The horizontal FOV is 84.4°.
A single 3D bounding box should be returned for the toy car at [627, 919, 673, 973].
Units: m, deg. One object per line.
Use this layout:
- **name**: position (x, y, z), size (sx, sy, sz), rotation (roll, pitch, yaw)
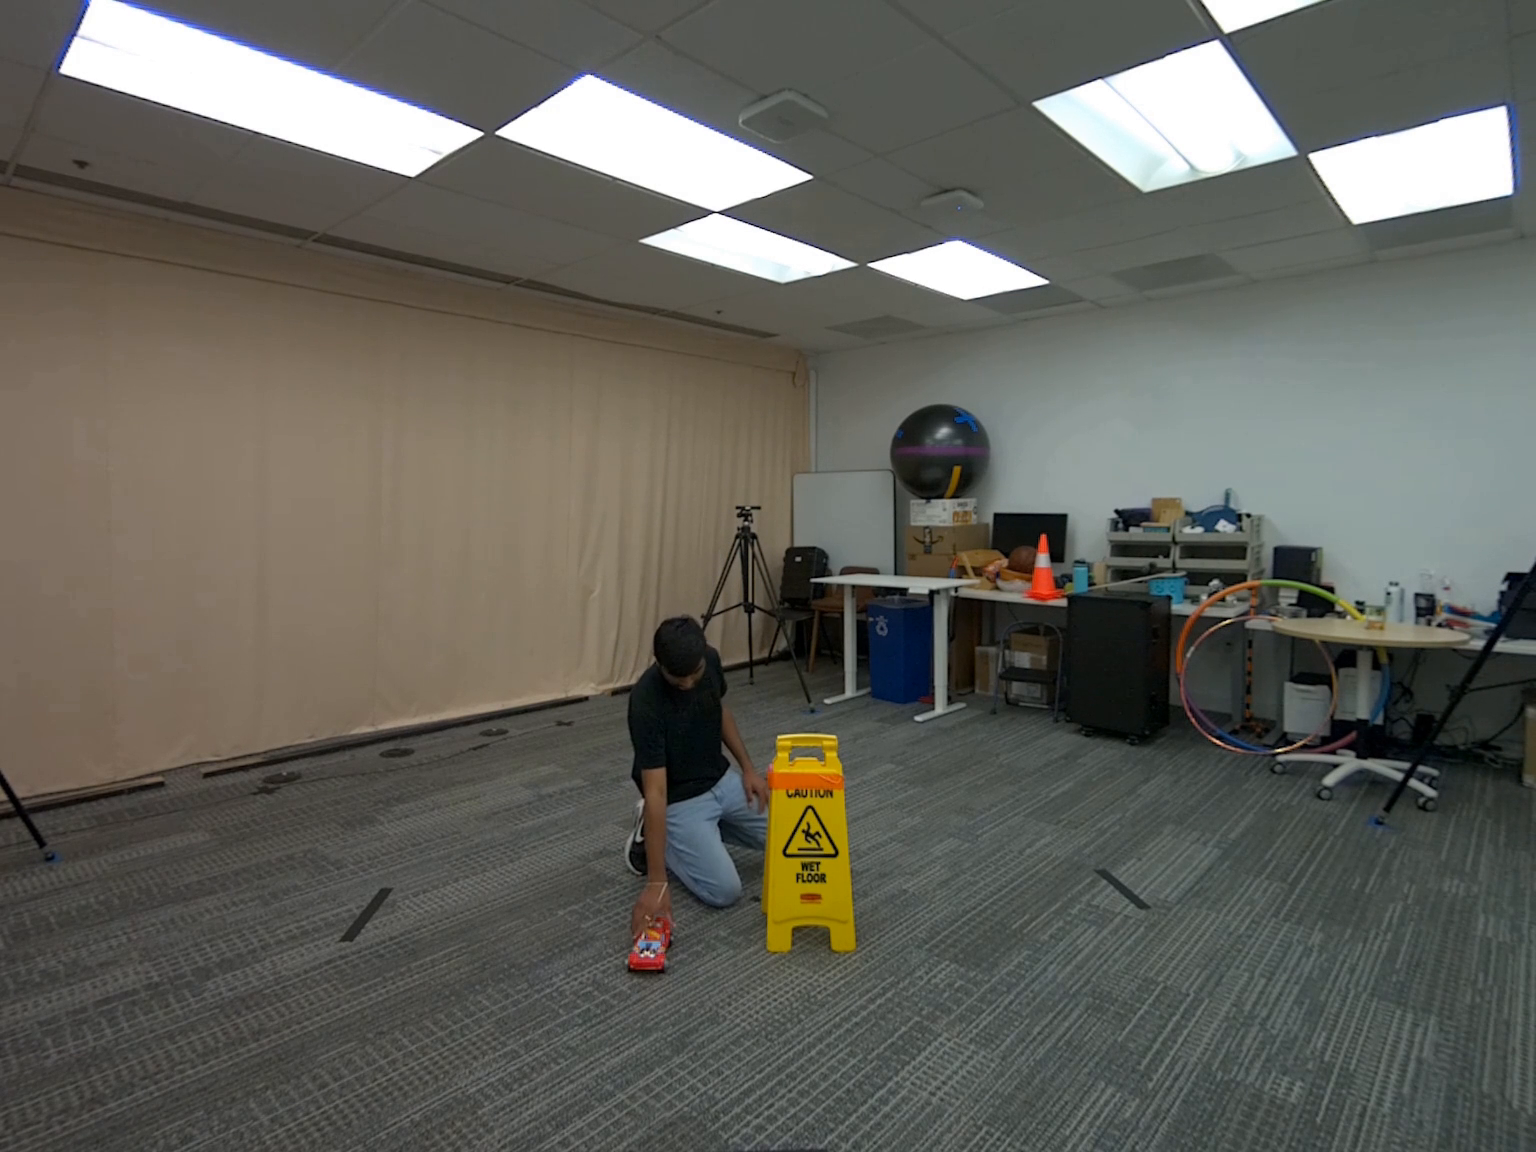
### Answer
- **toy car**: position (-0.366, 1.141, 2.616), size (0.130, 0.082, 0.256), rotation (0, 15, 0)
